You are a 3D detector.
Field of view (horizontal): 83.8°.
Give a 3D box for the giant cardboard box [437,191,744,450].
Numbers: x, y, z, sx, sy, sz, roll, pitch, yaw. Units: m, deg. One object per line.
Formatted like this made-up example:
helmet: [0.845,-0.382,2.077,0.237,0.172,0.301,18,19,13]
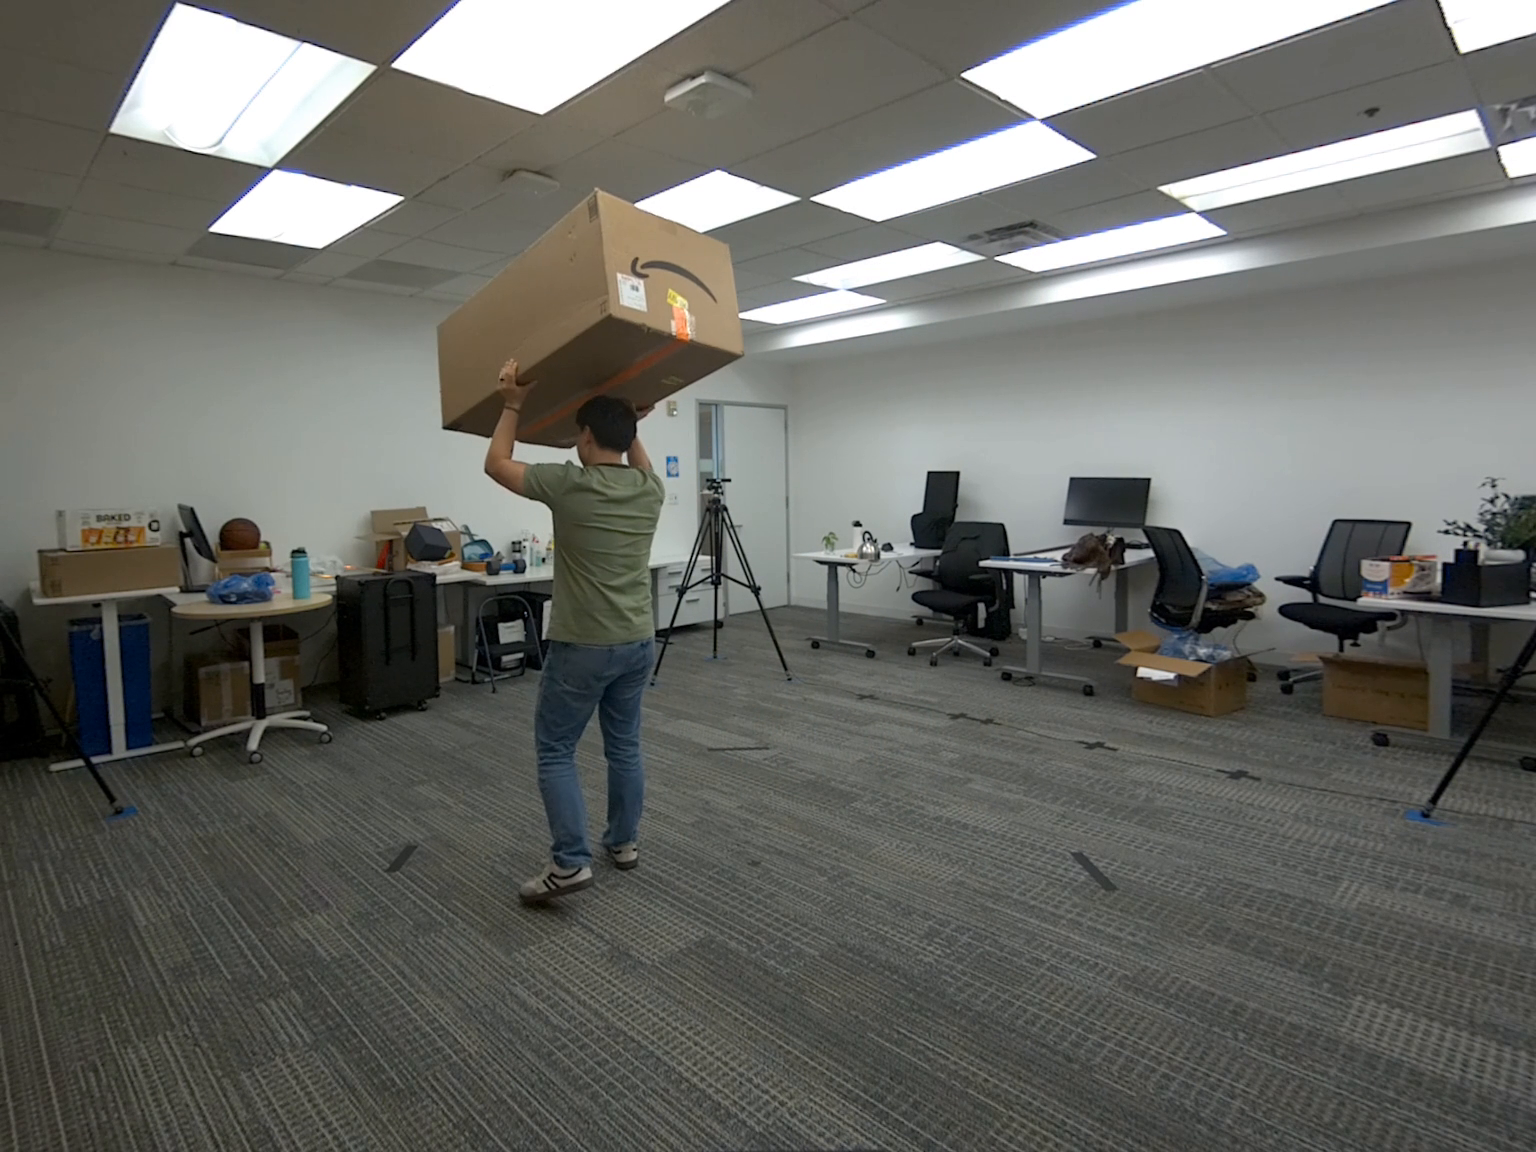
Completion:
giant cardboard box: [-0.668,-0.838,3.069,1.045,0.431,0.560,-17,-13,42]
